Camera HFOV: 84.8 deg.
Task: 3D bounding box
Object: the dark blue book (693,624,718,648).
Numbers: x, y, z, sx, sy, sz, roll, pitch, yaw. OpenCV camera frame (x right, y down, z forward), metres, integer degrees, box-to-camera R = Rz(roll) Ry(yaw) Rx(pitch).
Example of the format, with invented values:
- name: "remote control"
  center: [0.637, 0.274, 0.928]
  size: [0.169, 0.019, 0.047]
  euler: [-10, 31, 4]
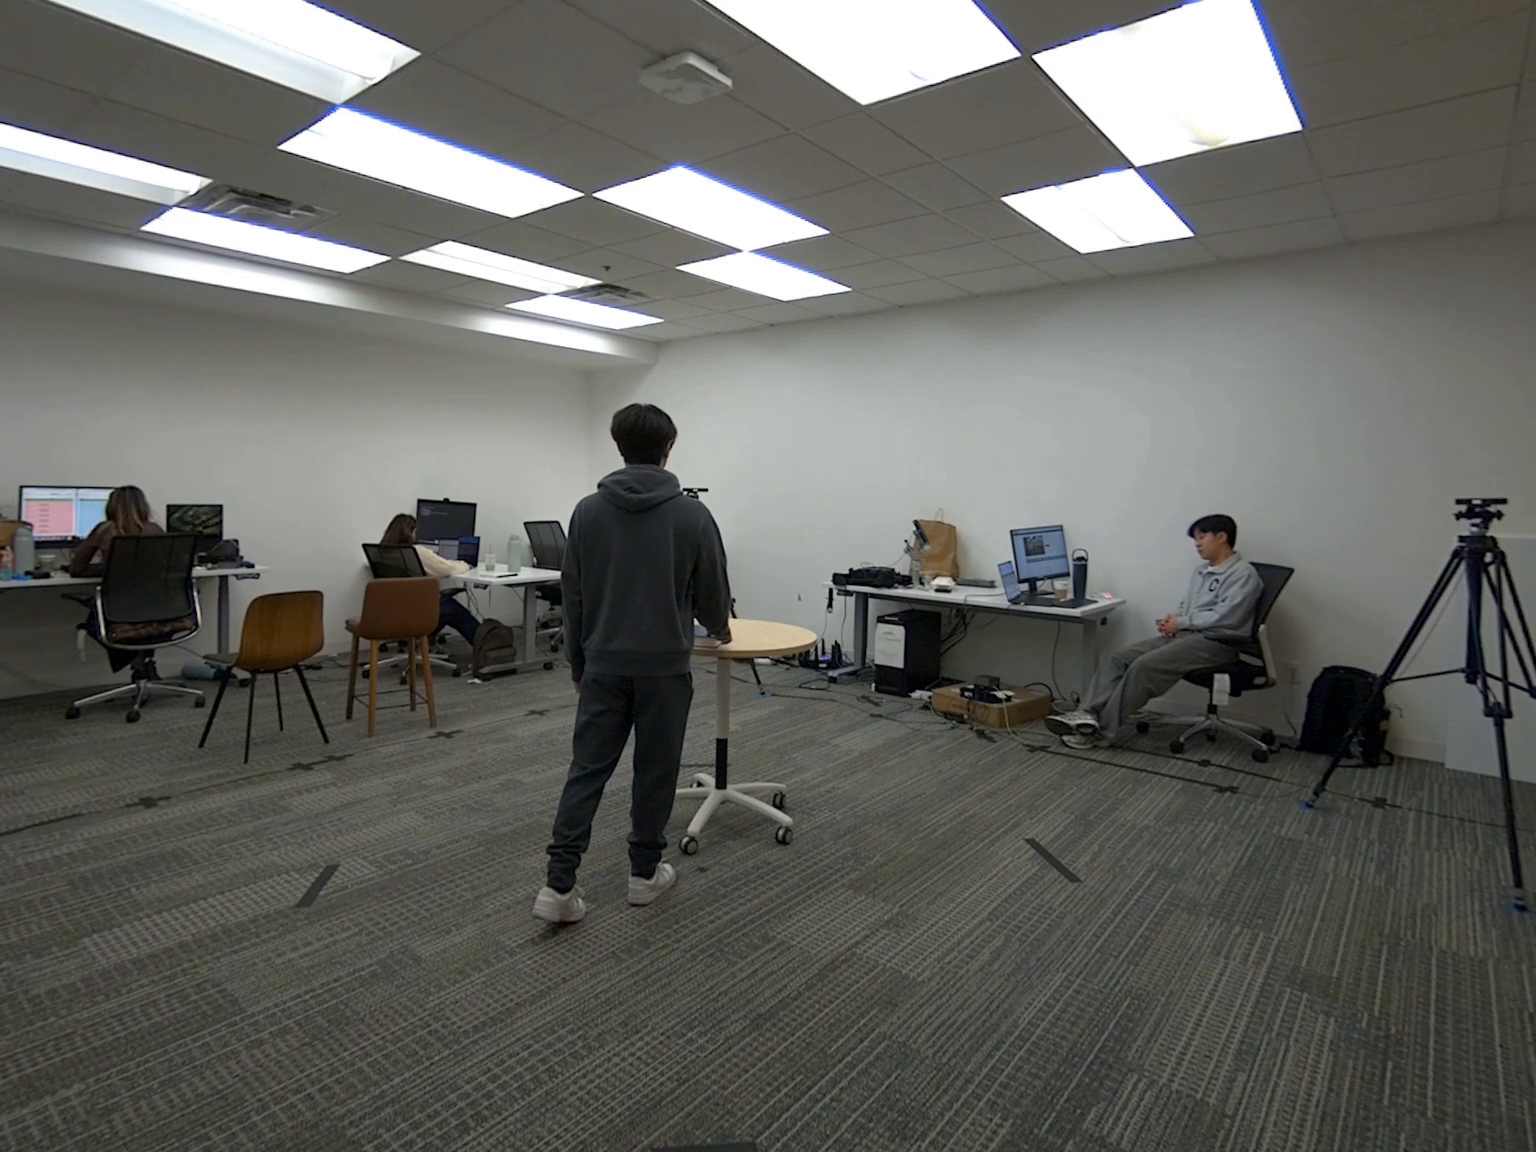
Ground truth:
- name: "dark blue book"
  center: [-0.256, 0.233, 3.323]
  size: [0.165, 0.045, 0.243]
  euler: [3, 6, 11]
